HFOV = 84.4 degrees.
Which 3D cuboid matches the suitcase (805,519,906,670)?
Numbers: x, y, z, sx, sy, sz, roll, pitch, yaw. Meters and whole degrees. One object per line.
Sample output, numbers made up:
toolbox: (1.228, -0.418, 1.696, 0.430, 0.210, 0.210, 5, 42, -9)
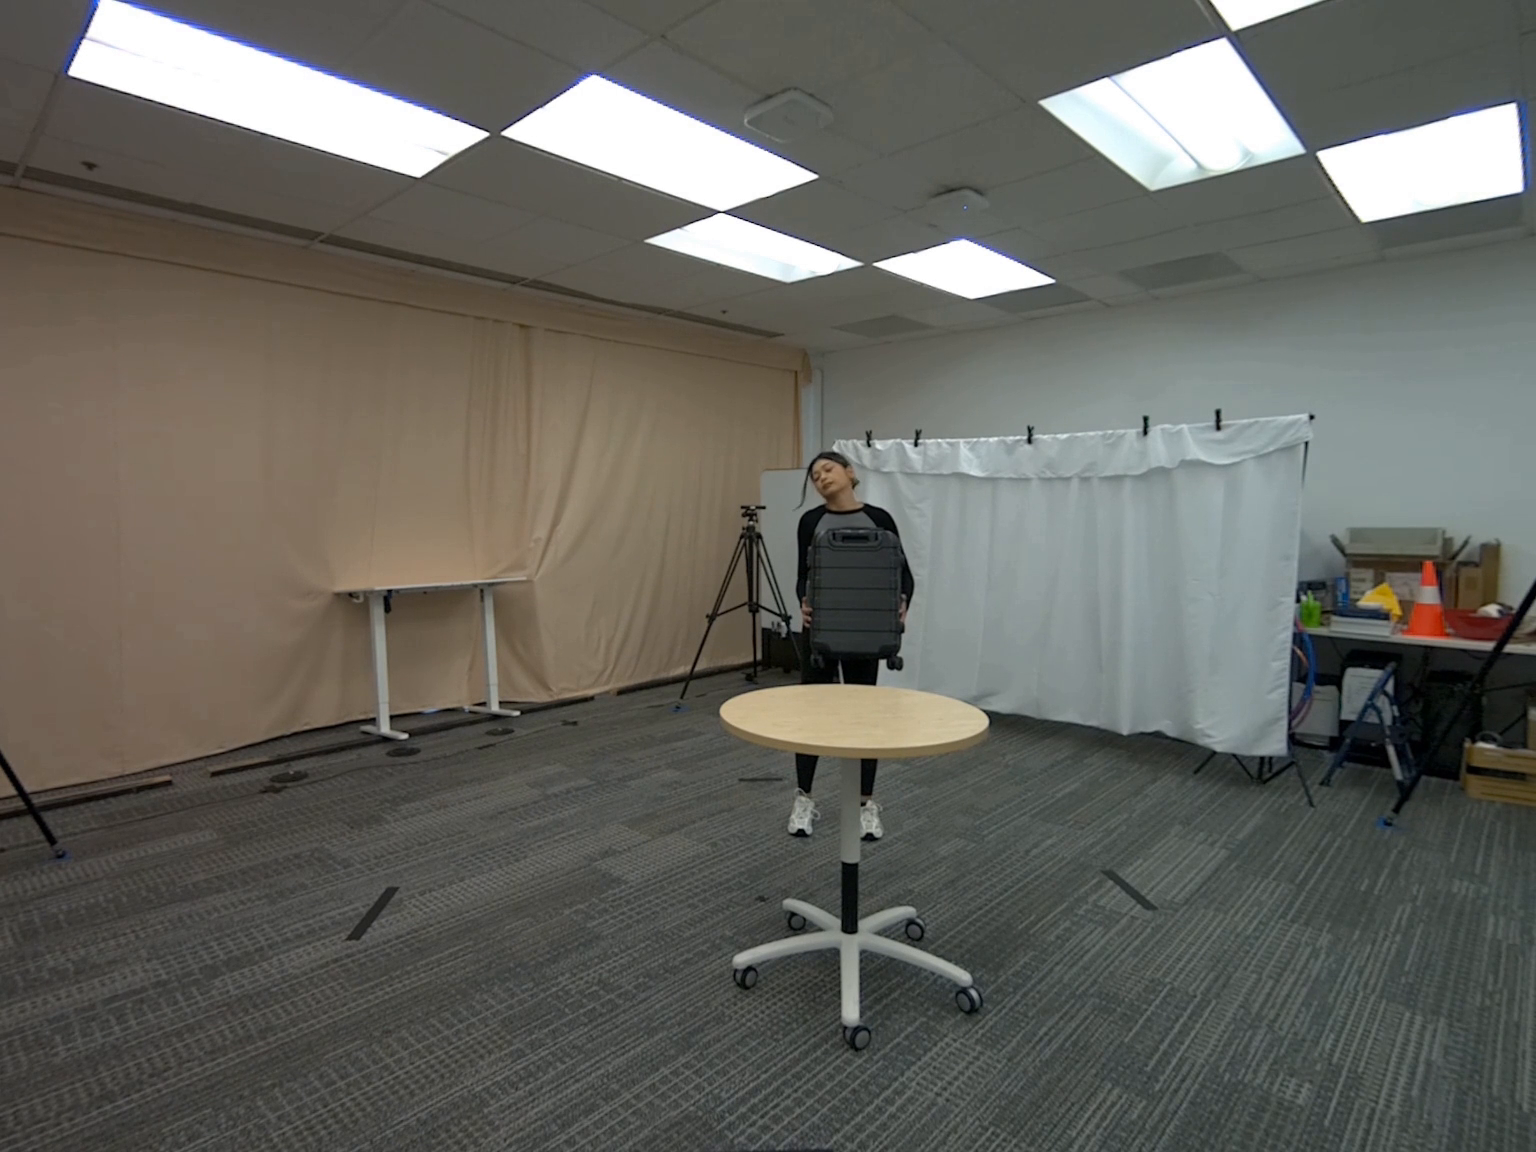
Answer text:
suitcase: (0.347, 0.083, 3.338, 0.380, 0.551, 0.245, -1, -5, 10)
